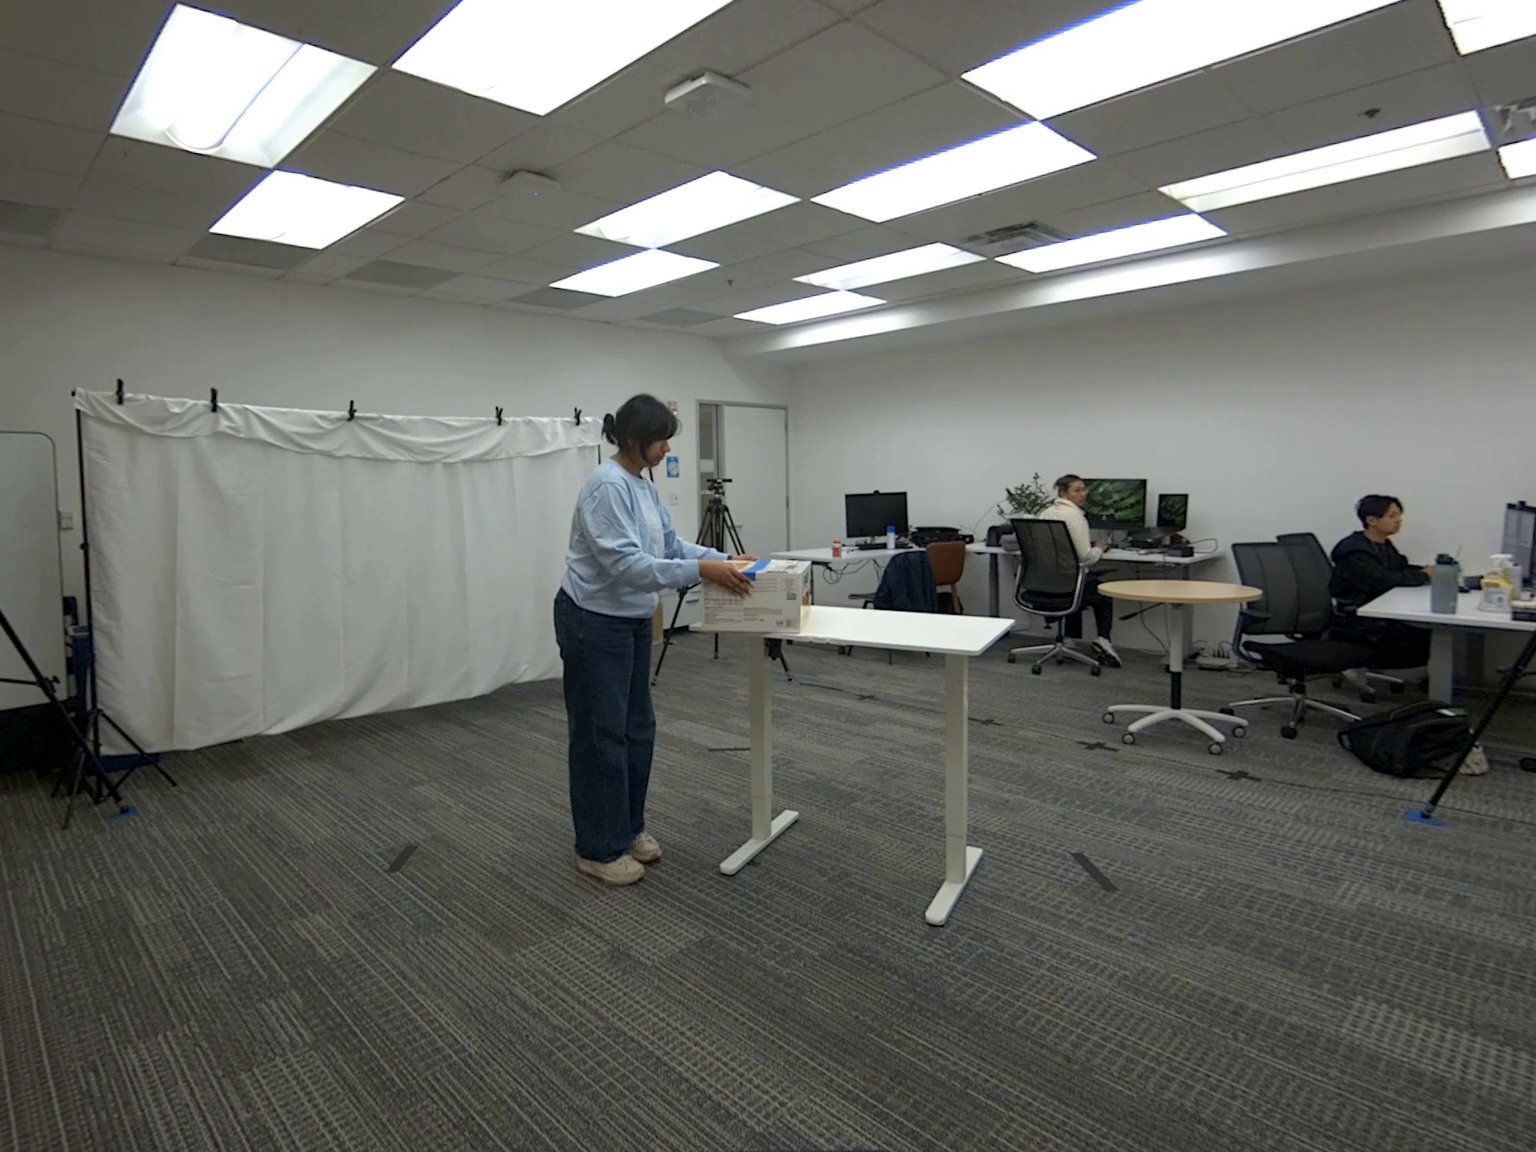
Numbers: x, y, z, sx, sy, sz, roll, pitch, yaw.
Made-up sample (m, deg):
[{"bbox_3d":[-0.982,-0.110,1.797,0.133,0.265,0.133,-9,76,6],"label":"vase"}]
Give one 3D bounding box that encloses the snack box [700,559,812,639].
[{"bbox_3d":[-0.041,0.069,3.047,0.344,0.205,0.403,0,6,10],"label":"snack box"}]
